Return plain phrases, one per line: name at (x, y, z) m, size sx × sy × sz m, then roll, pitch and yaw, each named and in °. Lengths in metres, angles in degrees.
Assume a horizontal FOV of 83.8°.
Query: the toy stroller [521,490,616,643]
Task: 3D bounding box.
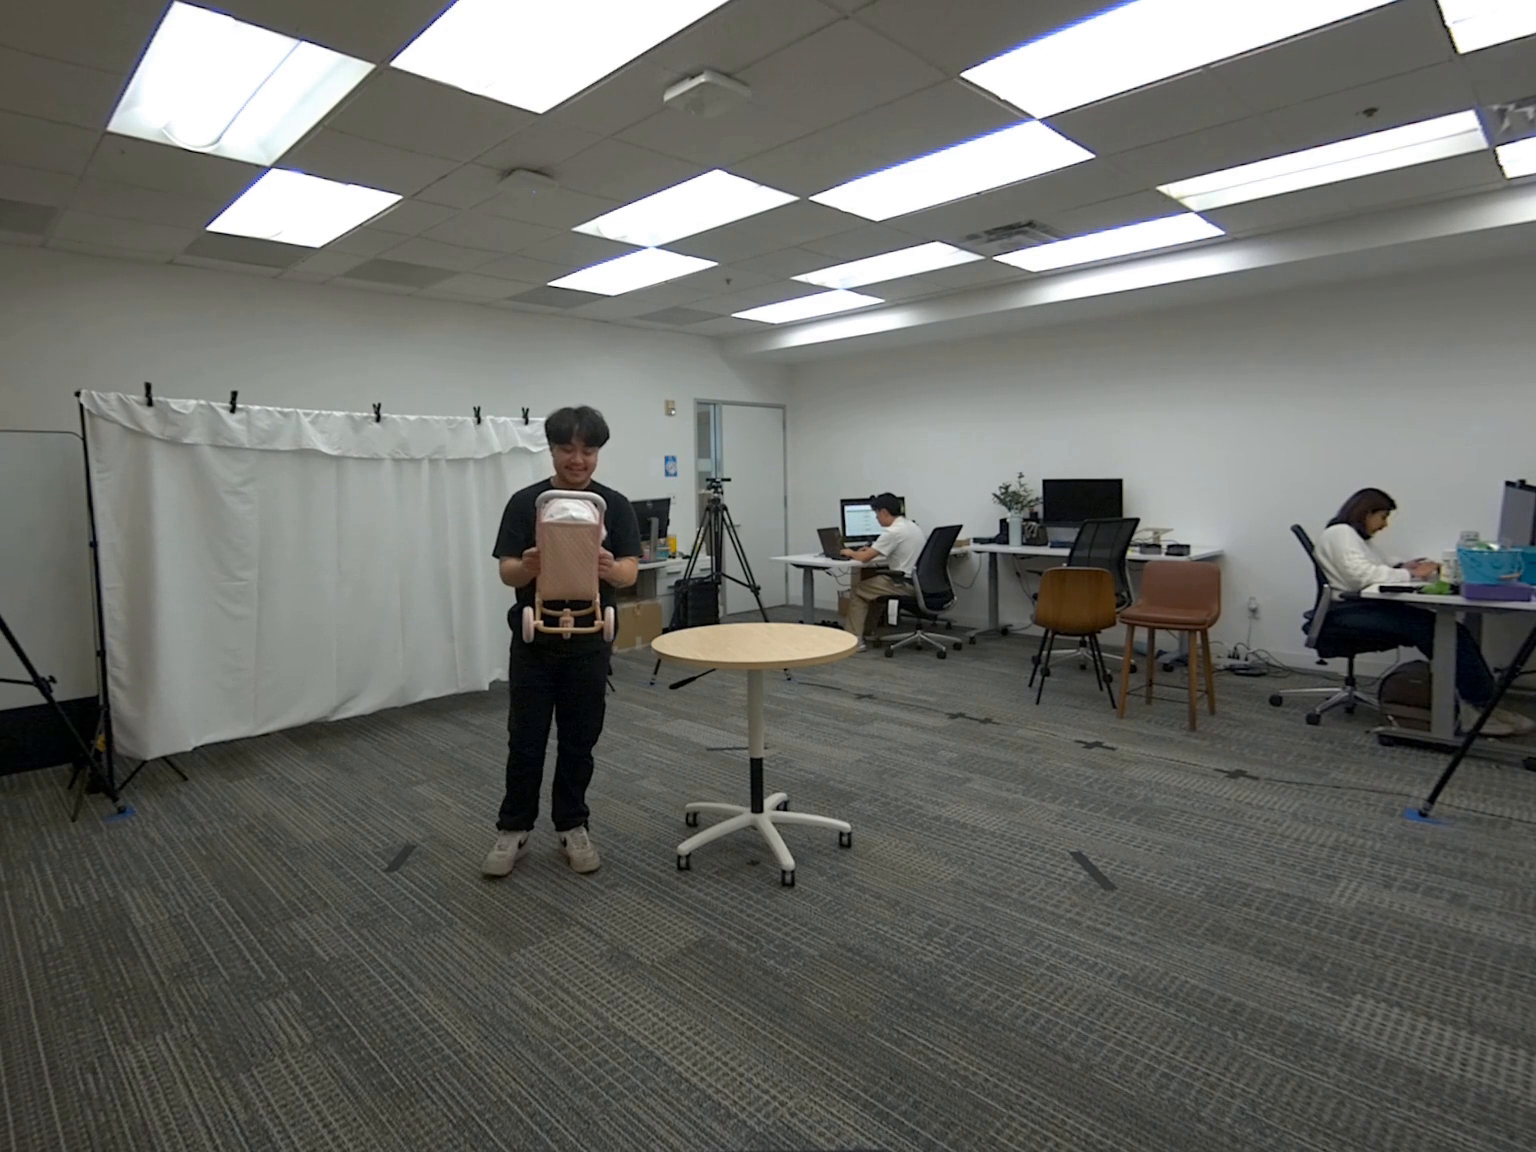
toy stroller at (-0.639, -0.022, 2.744) m, size 0.279 × 0.530 × 0.347 m, roll 1°, pitch 10°, yaw -10°
